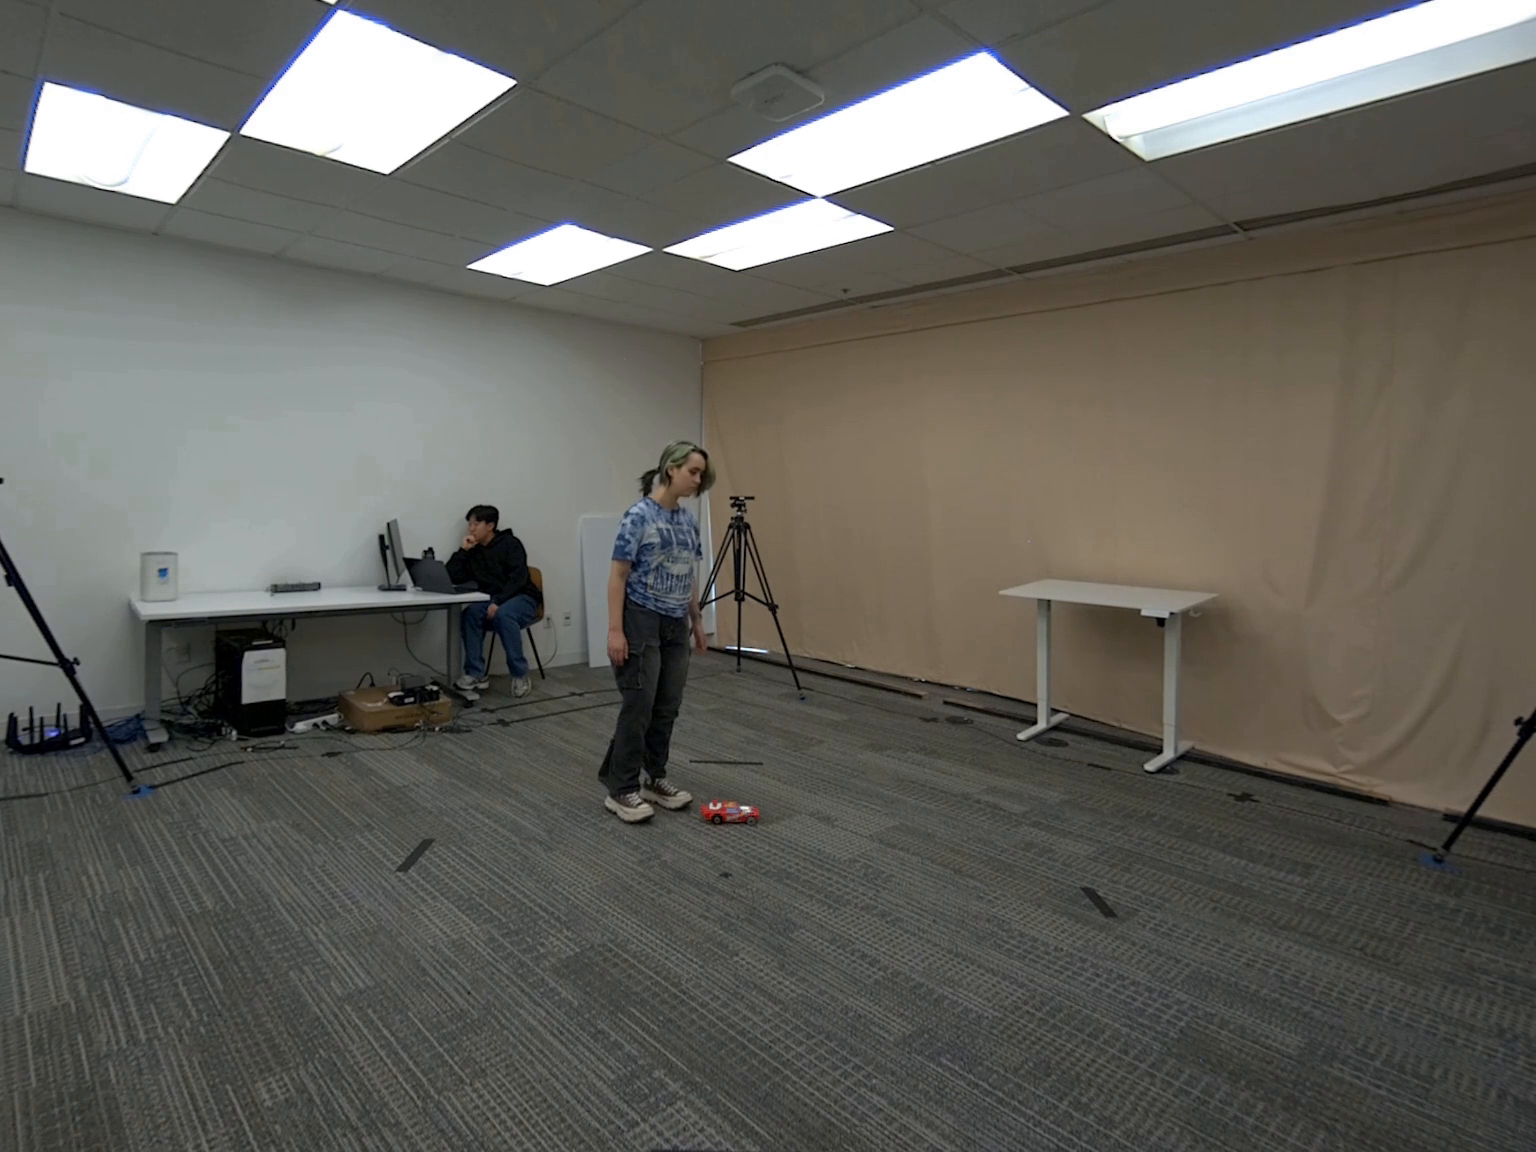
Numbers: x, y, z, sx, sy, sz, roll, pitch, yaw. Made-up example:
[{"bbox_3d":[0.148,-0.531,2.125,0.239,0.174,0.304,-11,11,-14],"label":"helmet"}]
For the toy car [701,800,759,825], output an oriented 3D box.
[{"bbox_3d":[-0.178,1.026,3.636,0.254,0.083,0.131,13,4,-3],"label":"toy car"}]
